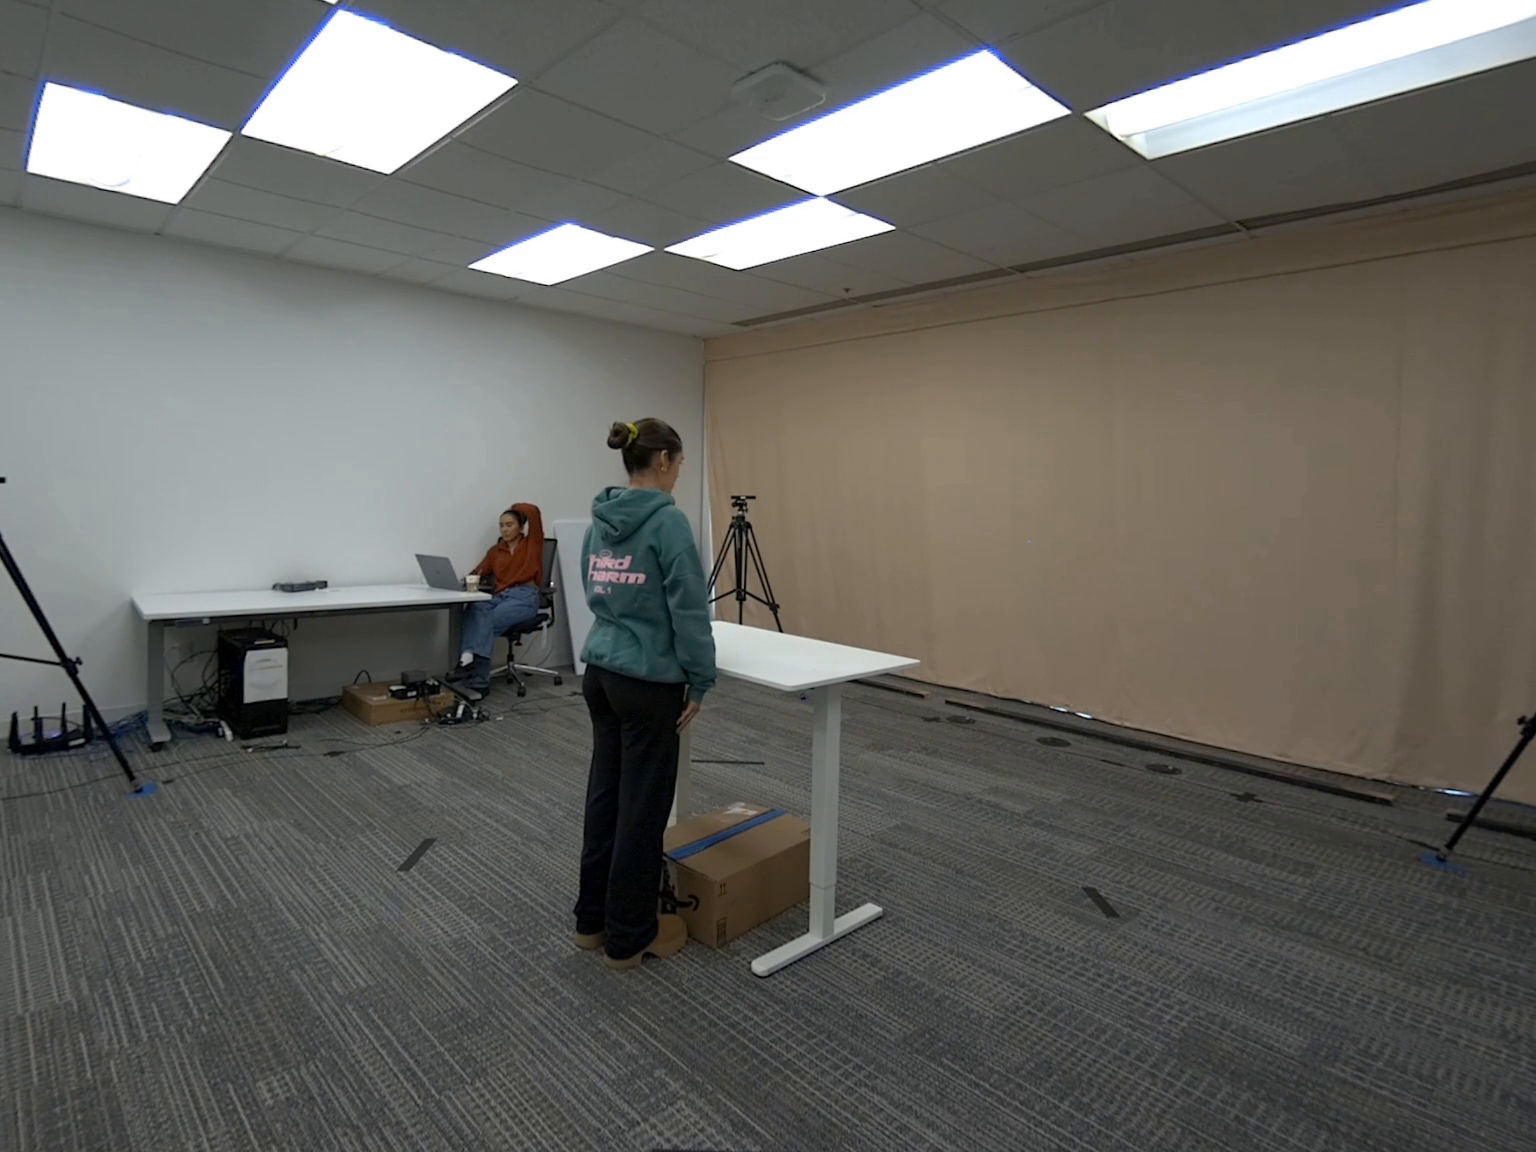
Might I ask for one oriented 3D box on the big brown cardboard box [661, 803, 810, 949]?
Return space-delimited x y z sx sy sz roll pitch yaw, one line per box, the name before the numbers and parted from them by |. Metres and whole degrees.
big brown cardboard box | -0.135 1.003 2.922 0.428 0.232 0.576 5 7 41
